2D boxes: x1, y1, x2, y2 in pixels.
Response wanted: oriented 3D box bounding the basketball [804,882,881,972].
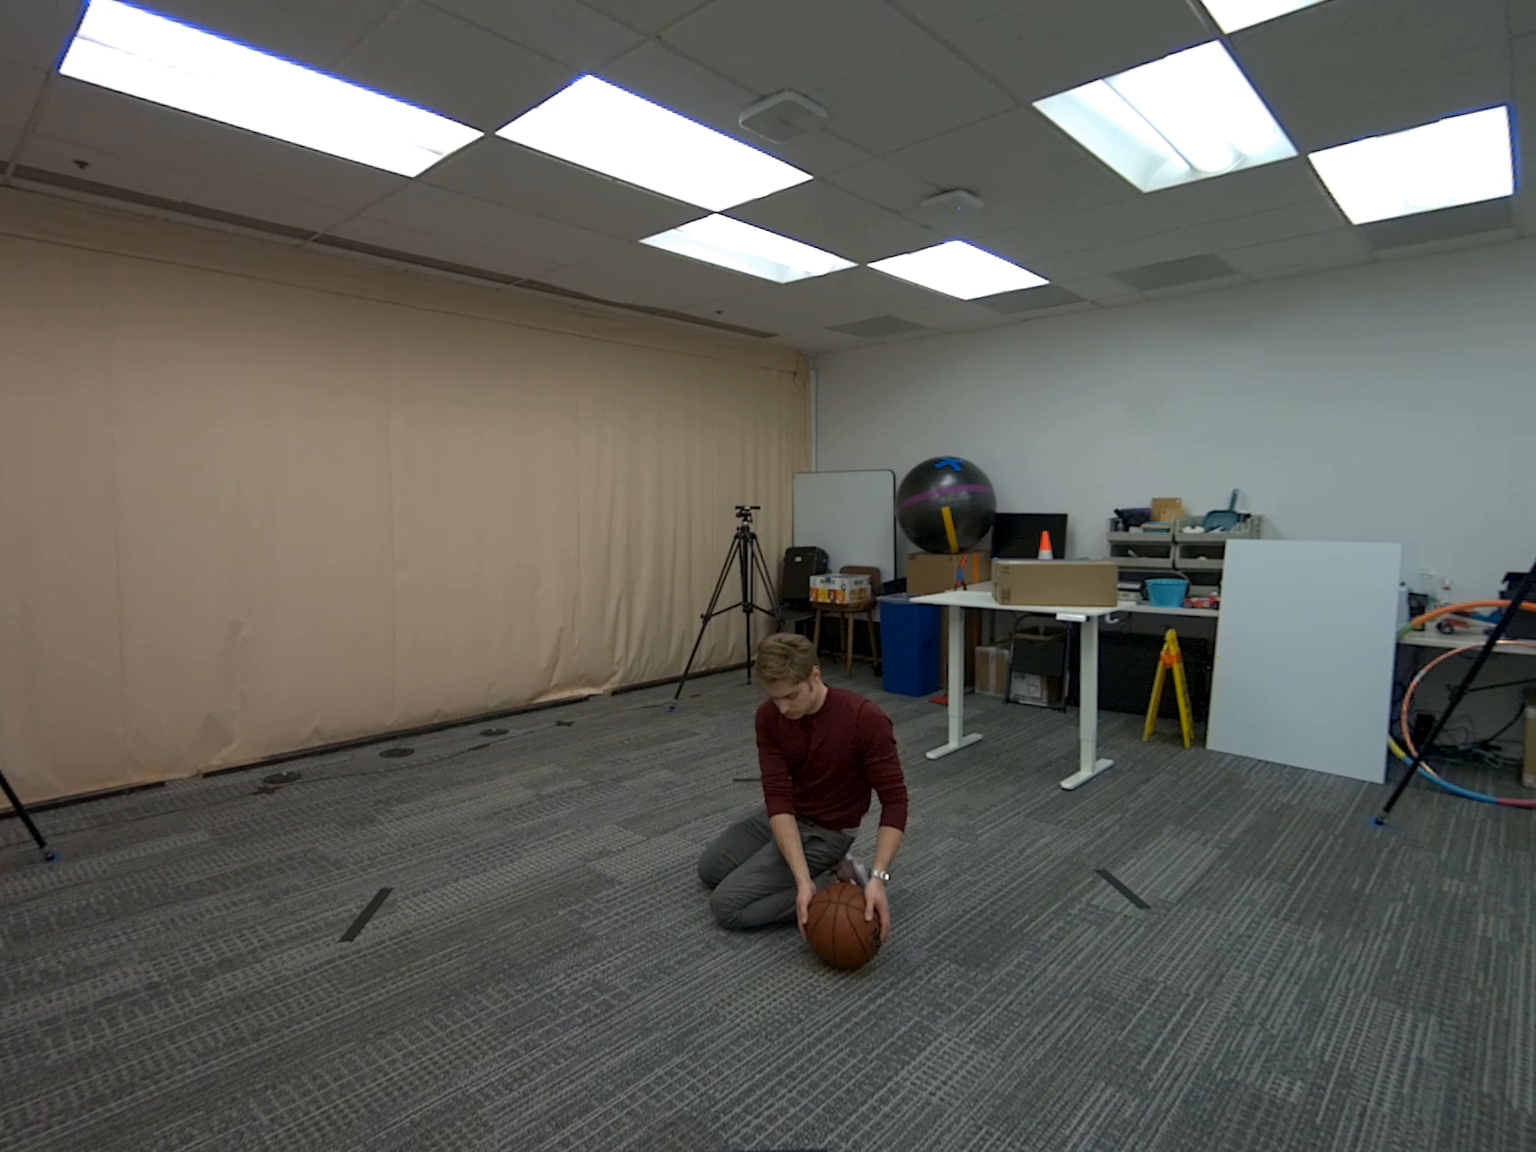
[{"bbox_3d":[0.236,1.054,2.561,0.236,0.235,0.237,0,4,-2],"label":"basketball"}]
